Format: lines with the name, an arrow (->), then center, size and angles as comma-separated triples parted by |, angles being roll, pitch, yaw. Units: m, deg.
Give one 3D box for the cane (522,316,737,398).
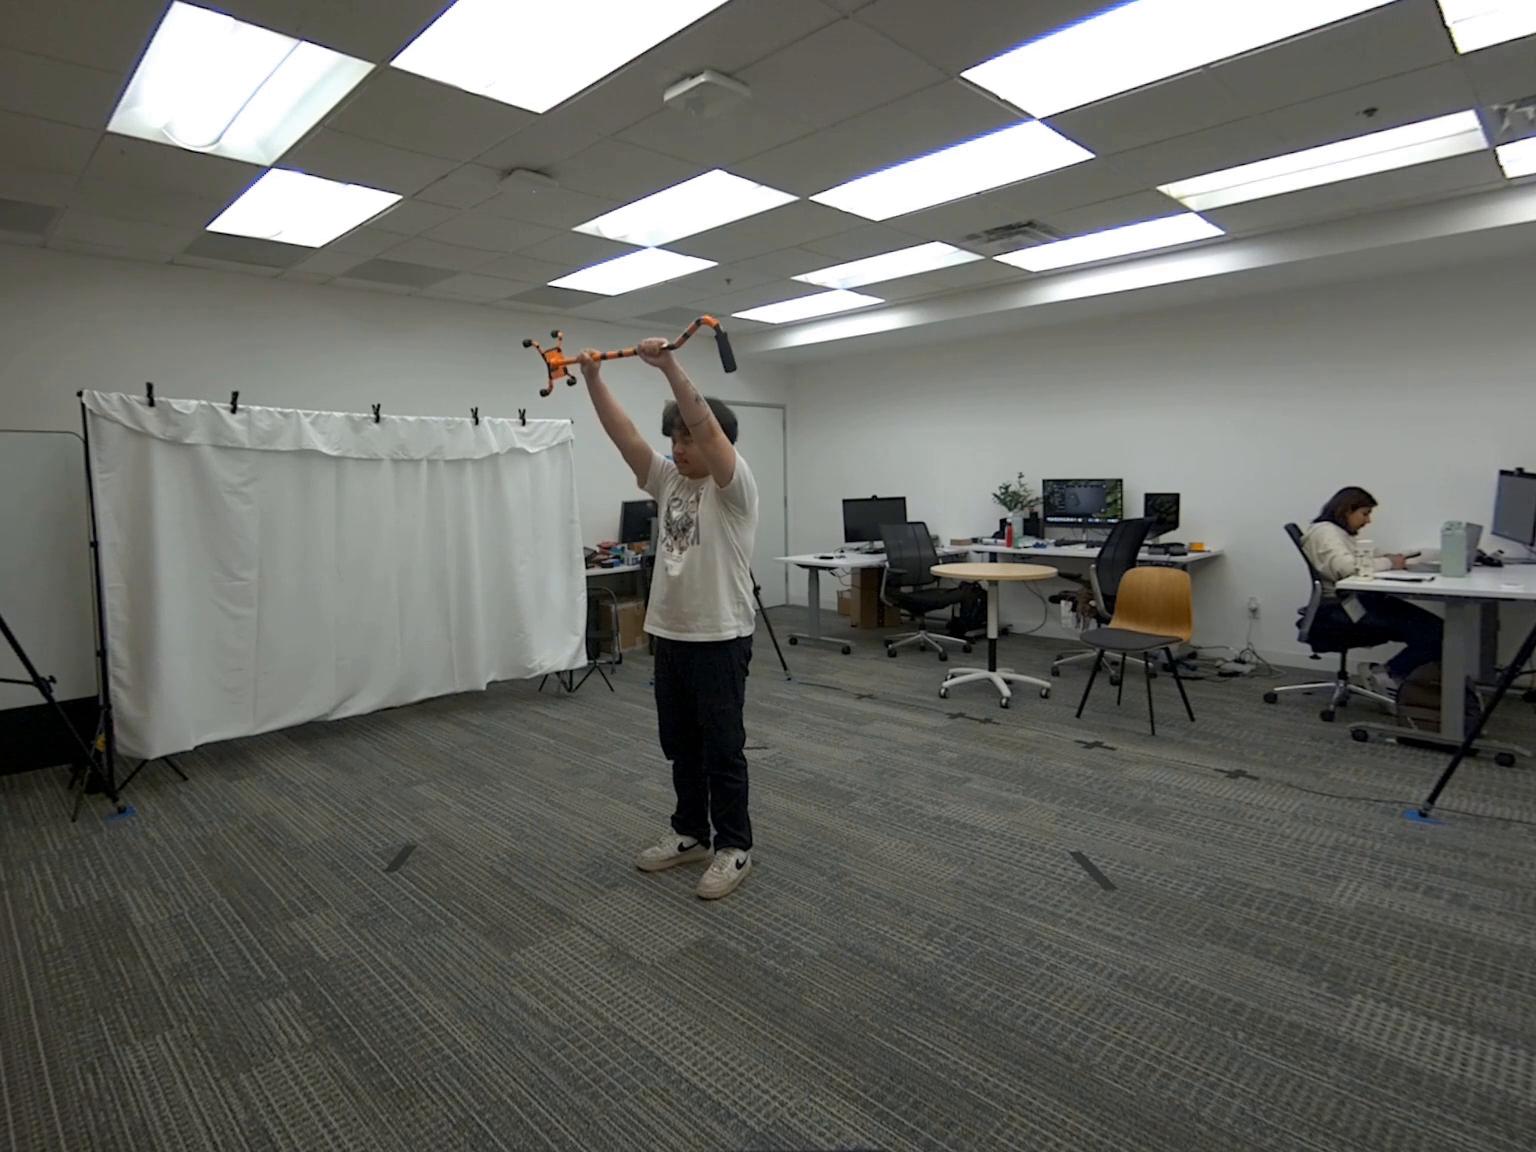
cane -> -0.441, -0.704, 2.686 | 0.937, 0.202, 0.150 | 7, 31, 45
